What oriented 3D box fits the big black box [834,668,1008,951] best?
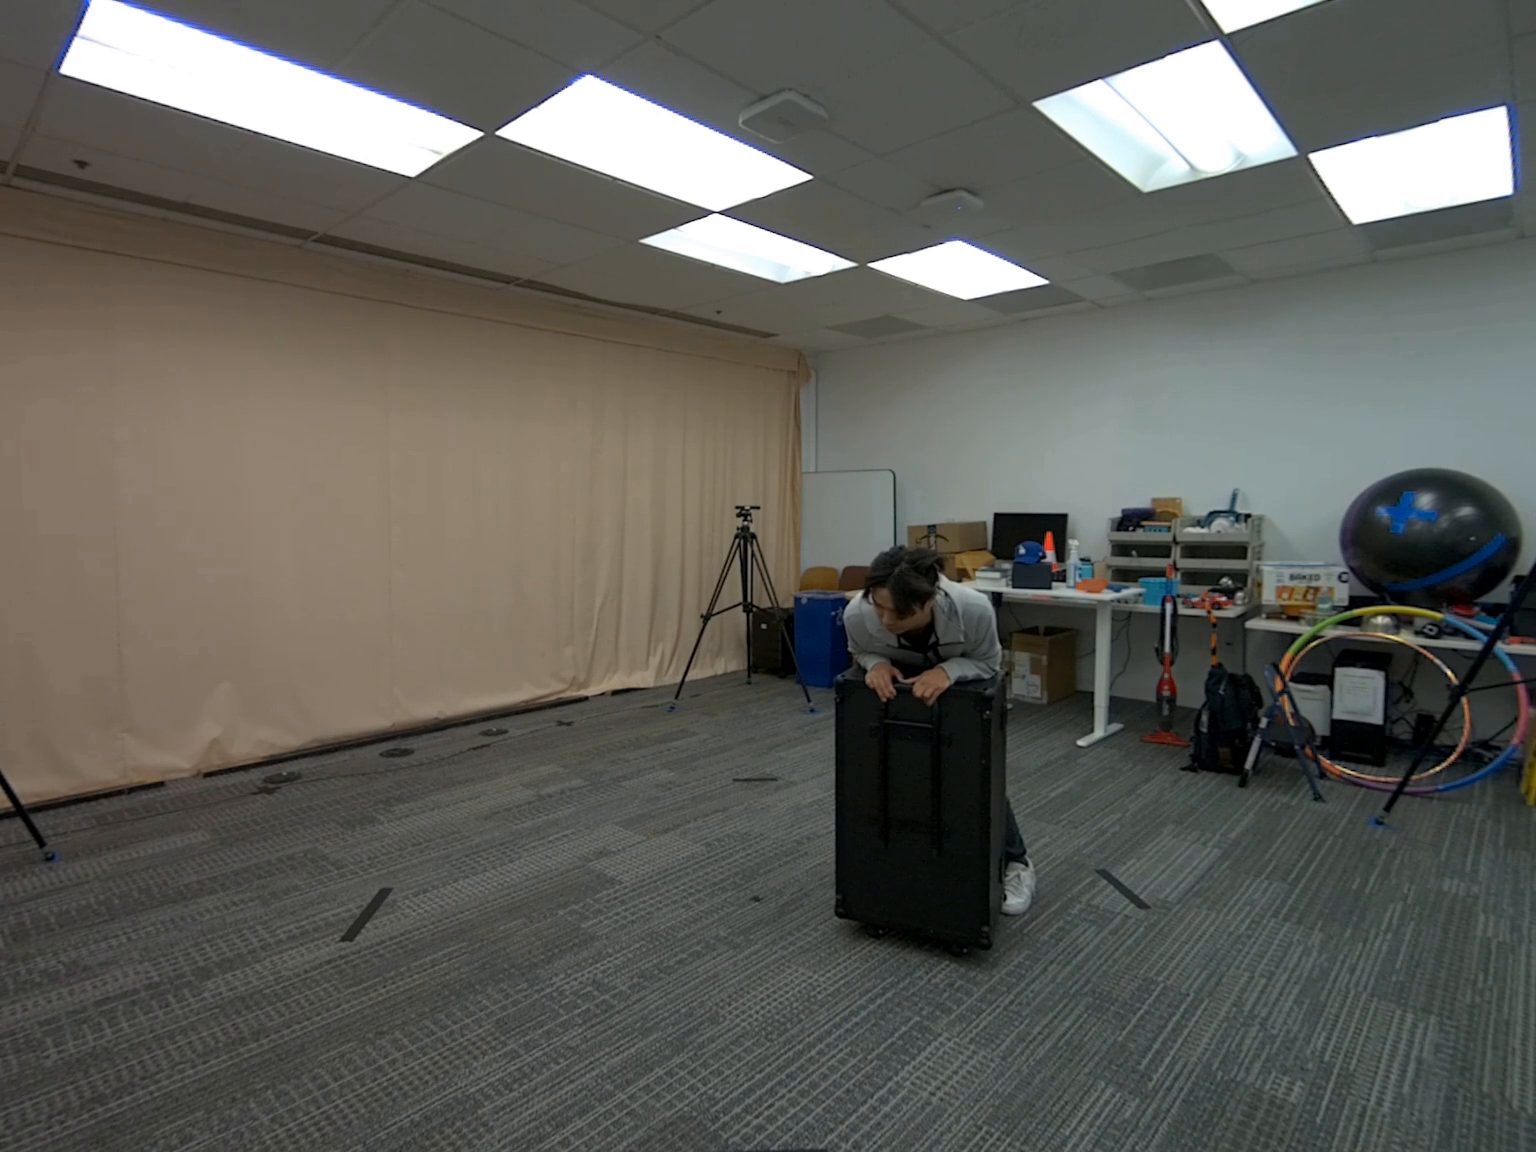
[{"bbox_3d":[0.505,0.745,2.728,0.535,0.859,0.387,2,5,25],"label":"big black box"}]
